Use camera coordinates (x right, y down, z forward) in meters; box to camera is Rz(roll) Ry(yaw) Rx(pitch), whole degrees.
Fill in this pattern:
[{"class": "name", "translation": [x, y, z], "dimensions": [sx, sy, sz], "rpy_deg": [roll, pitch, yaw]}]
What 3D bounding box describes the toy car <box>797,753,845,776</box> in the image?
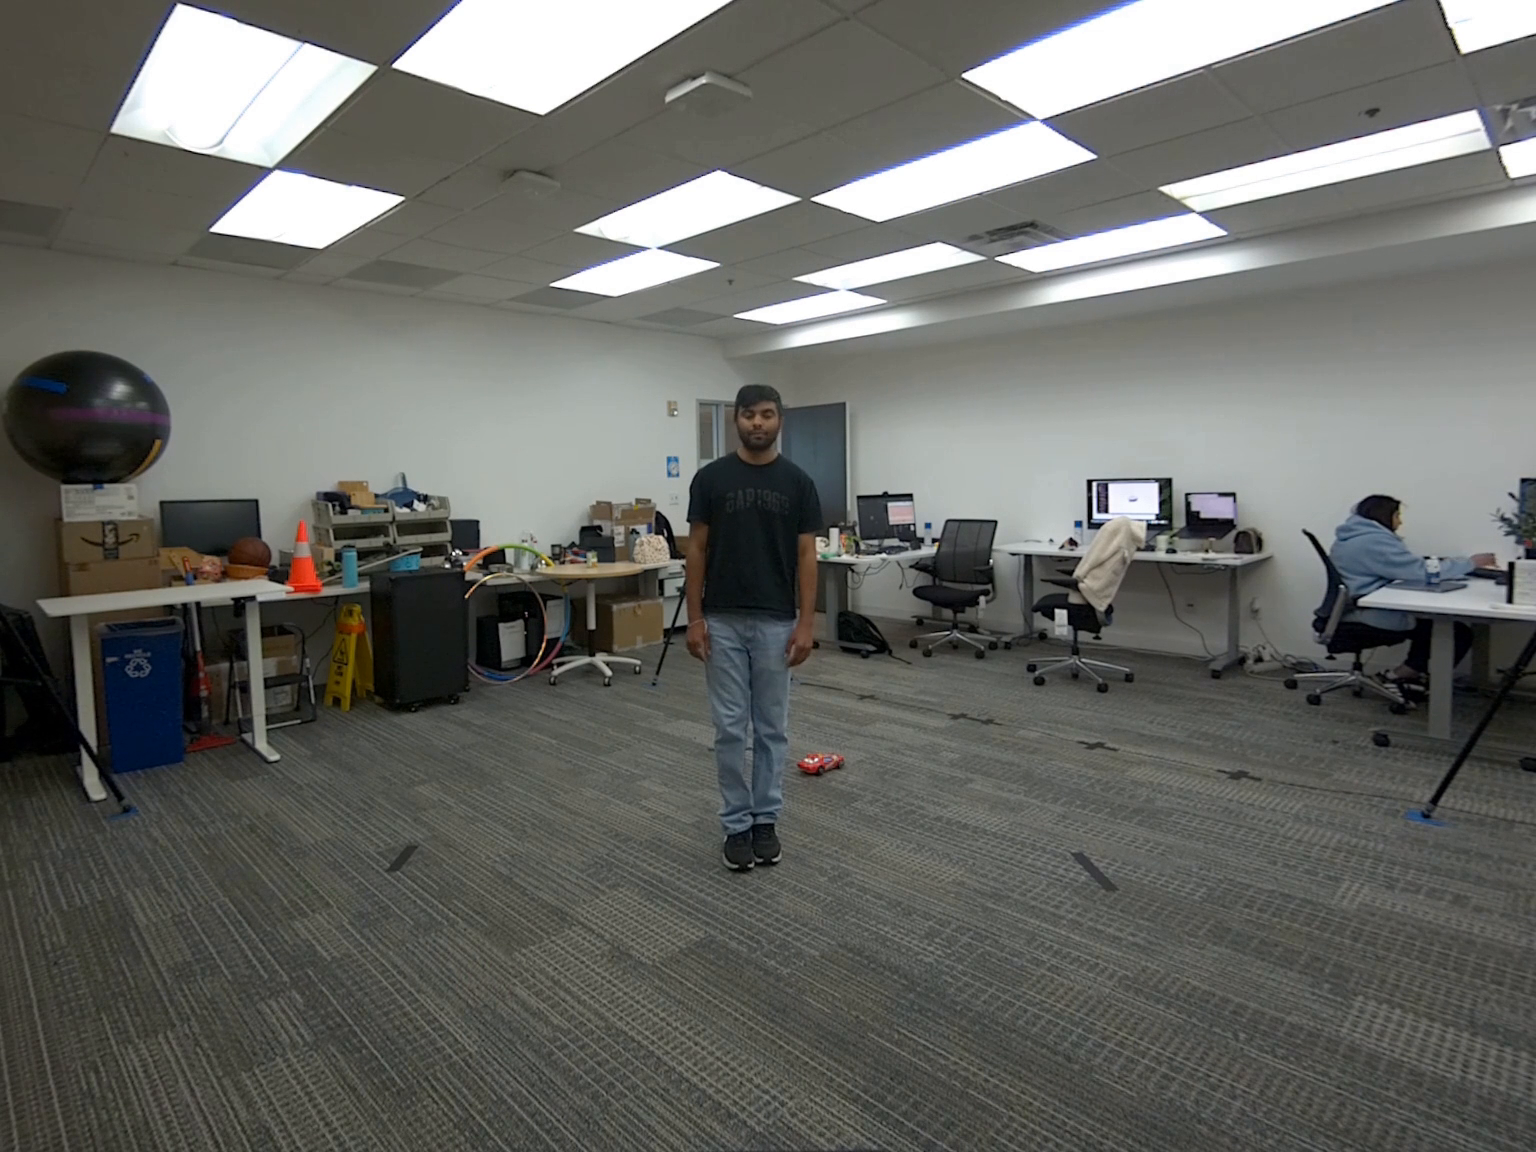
[{"class": "toy car", "translation": [0.251, 0.900, 4.090], "dimensions": [0.246, 0.083, 0.134], "rpy_deg": [8, -1, -41]}]
